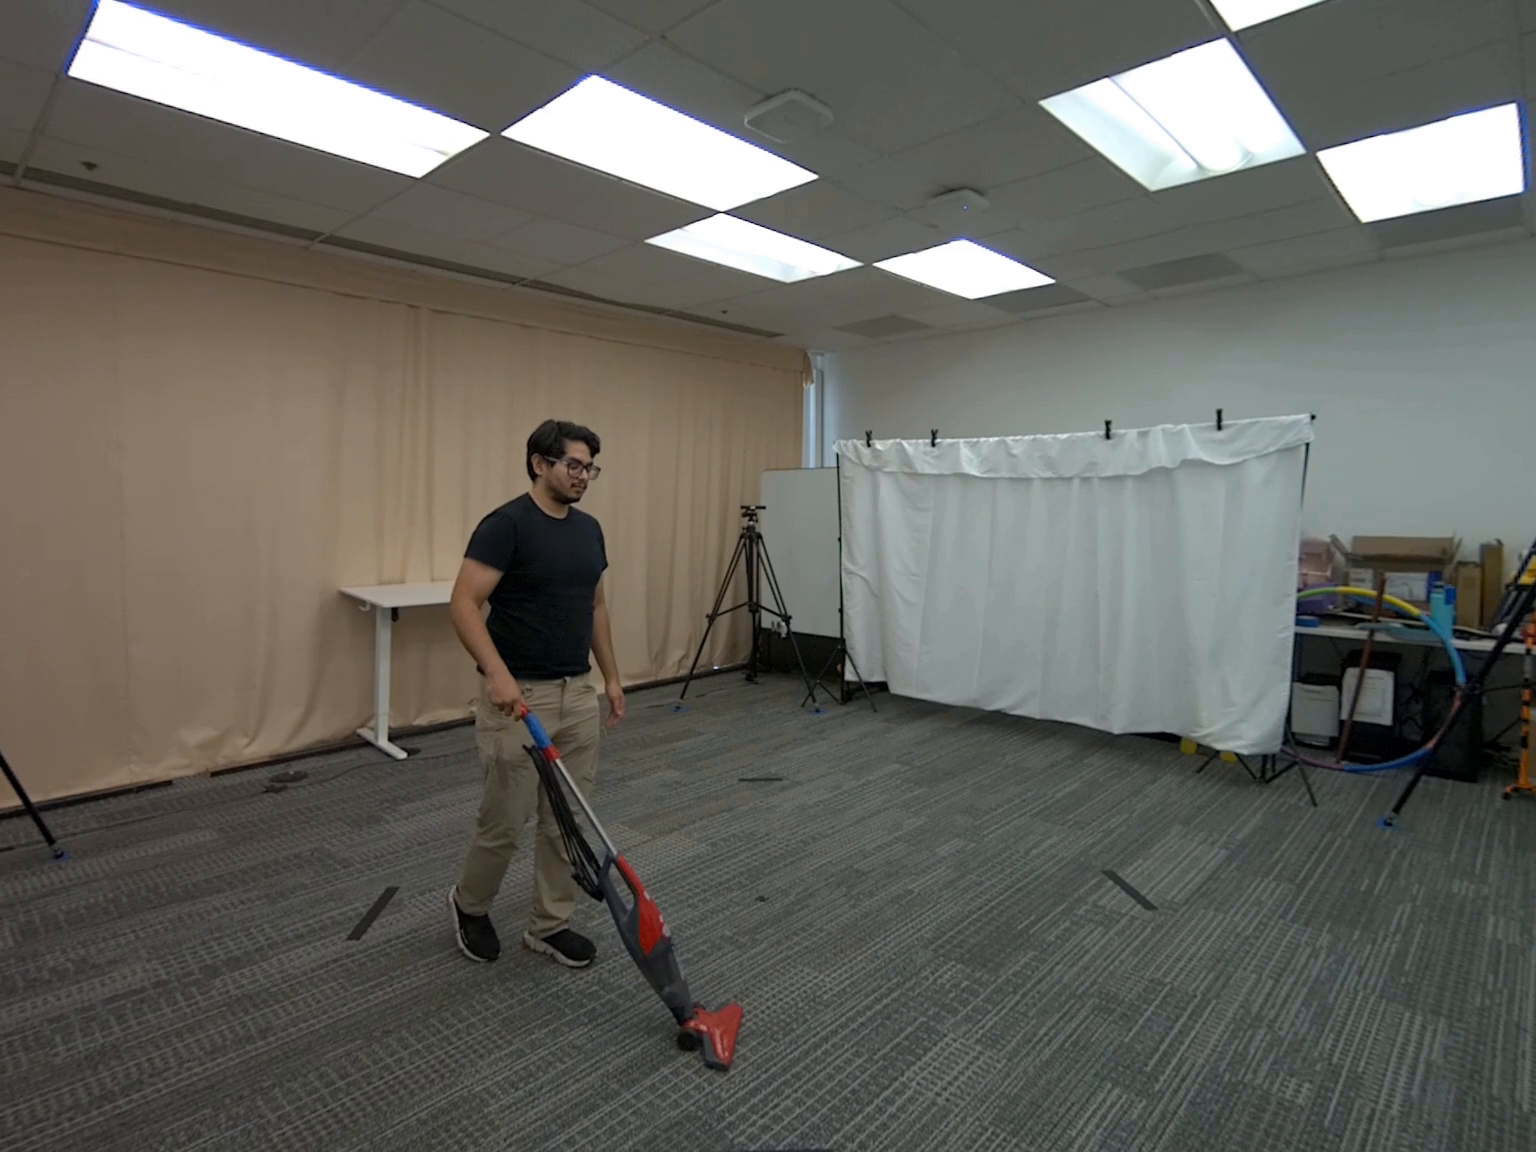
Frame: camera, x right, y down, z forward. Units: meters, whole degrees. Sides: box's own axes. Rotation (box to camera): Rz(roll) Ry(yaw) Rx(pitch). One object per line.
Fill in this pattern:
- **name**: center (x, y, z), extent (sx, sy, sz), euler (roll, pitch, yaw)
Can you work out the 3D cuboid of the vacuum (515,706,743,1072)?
- **vacuum**: center (-0.433, 0.768, 2.233), extent (0.145, 1.053, 0.250), euler (-33, -3, 10)
